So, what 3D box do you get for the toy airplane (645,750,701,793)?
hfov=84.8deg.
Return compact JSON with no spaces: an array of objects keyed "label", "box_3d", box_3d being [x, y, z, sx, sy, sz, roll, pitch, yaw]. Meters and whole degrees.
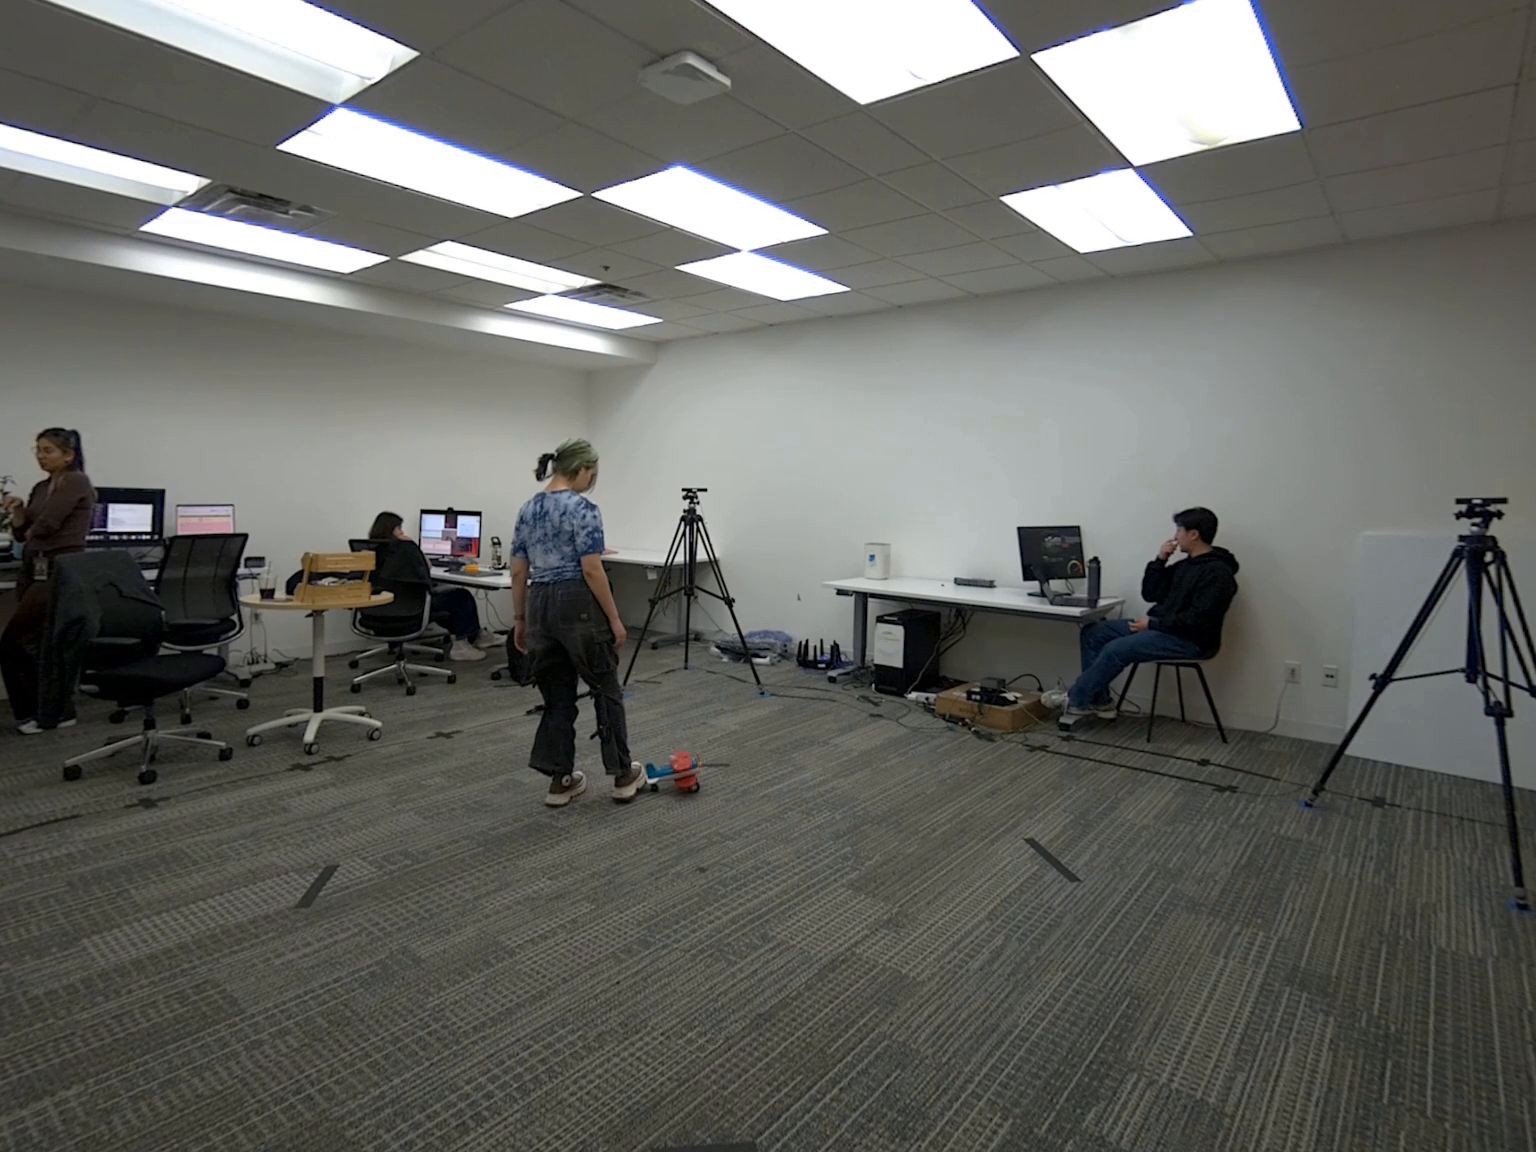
[{"label":"toy airplane","box_3d":[-0.442,0.917,3.916,0.251,0.156,0.259,-1,5,-38]}]
